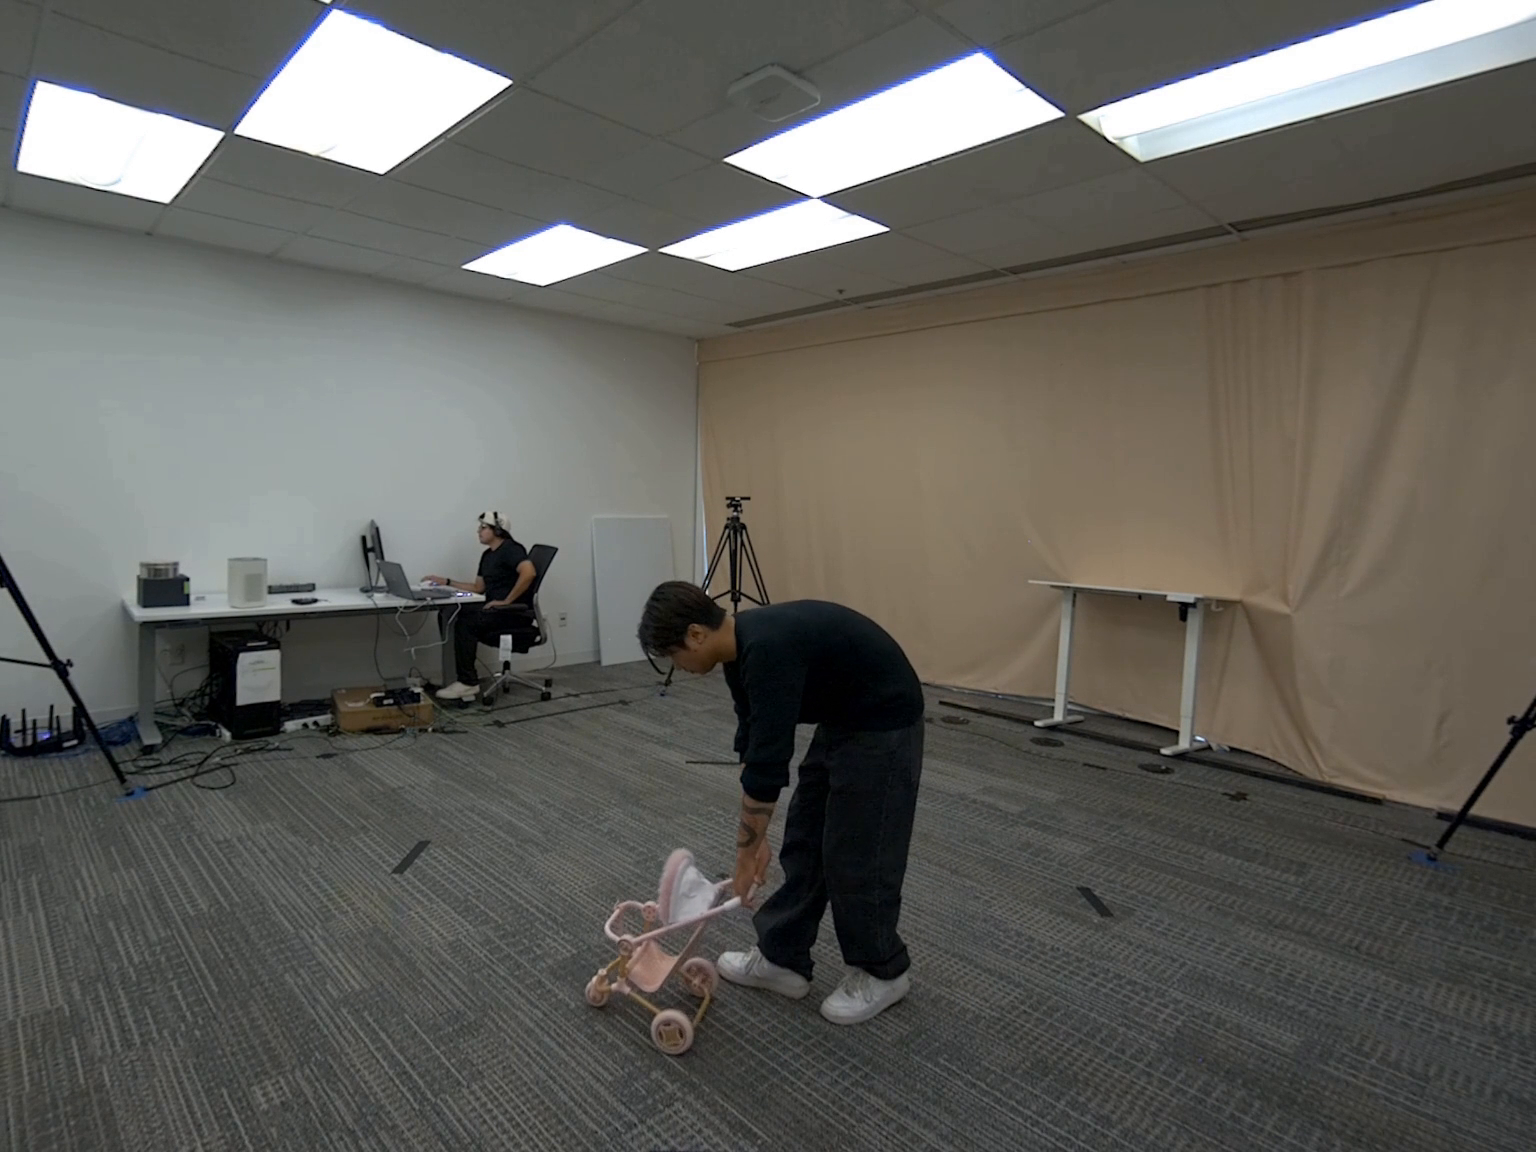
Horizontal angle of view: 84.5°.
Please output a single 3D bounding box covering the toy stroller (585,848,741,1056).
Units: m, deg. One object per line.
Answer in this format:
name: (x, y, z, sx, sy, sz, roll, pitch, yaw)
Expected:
toy stroller: (-0.273, 0.960, 2.243, 0.347, 0.533, 0.278, 21, 9, 16)
